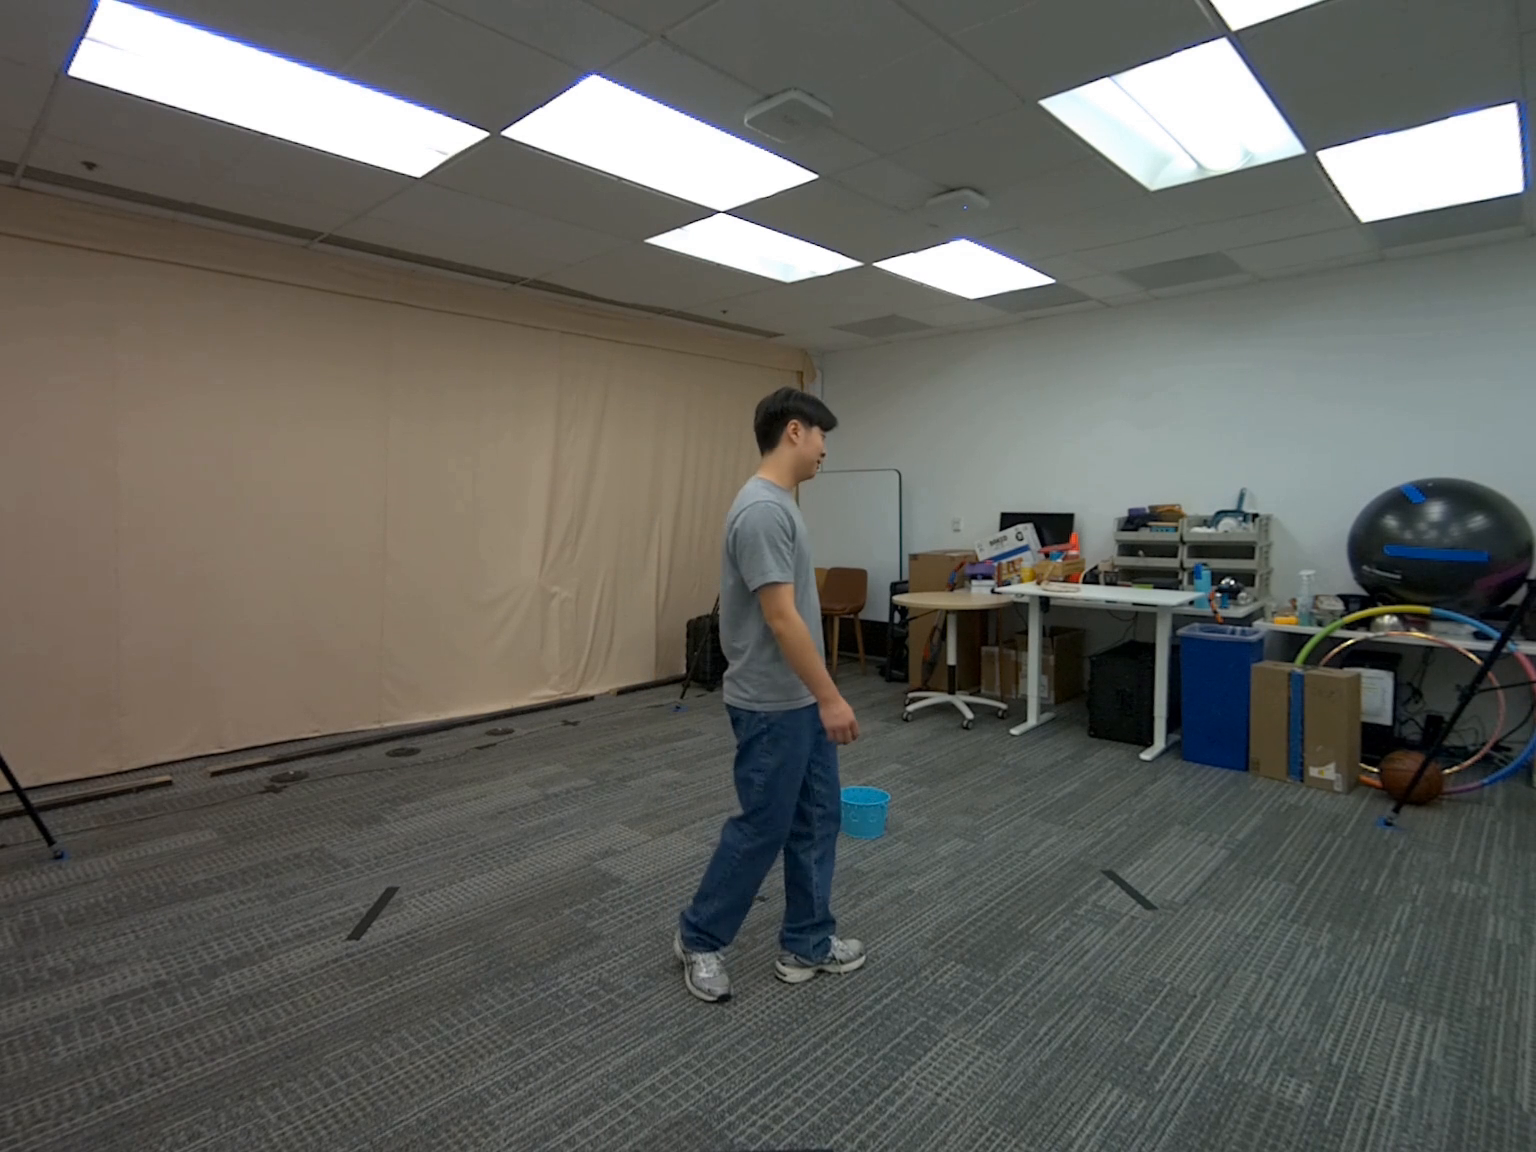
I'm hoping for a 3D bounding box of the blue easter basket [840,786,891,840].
[{"bbox_3d":[0.414,1.009,3.609,0.243,0.155,0.244,-1,5,-2],"label":"blue easter basket"}]
